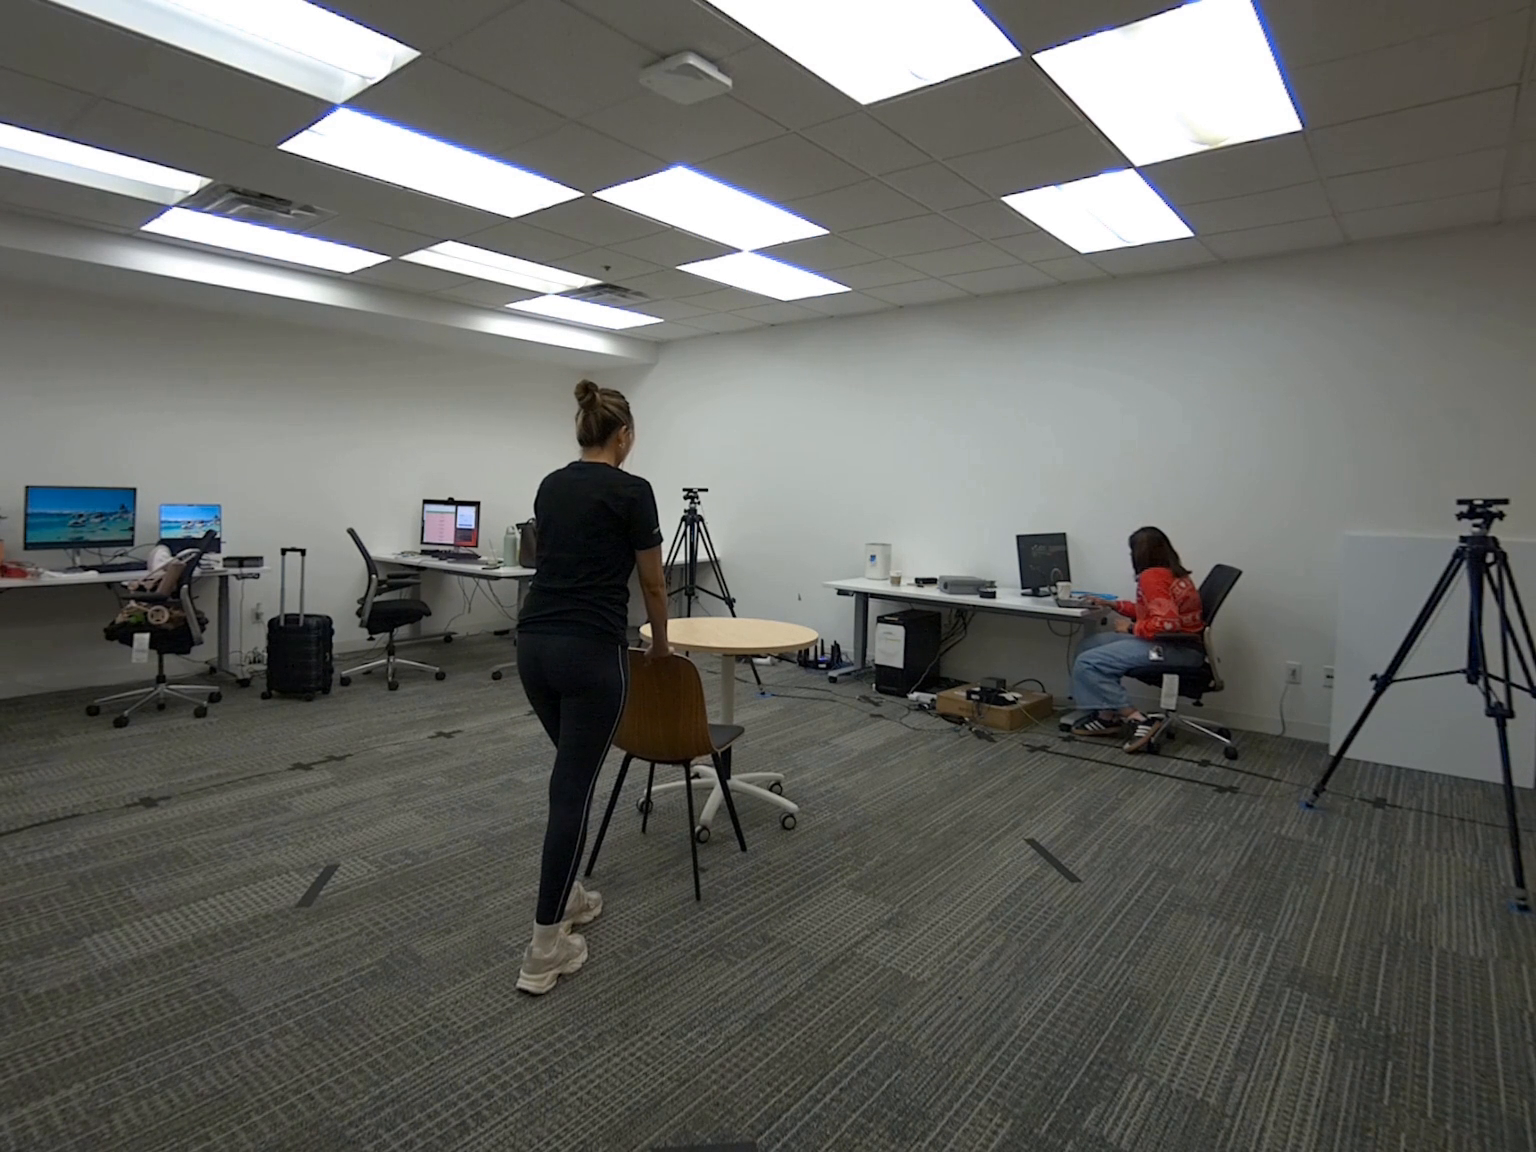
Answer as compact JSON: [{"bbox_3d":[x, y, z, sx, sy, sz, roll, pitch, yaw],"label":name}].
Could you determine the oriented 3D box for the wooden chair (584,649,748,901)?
[{"bbox_3d":[-0.368,0.635,3.134,0.489,0.871,0.515,2,8,21],"label":"wooden chair"}]
